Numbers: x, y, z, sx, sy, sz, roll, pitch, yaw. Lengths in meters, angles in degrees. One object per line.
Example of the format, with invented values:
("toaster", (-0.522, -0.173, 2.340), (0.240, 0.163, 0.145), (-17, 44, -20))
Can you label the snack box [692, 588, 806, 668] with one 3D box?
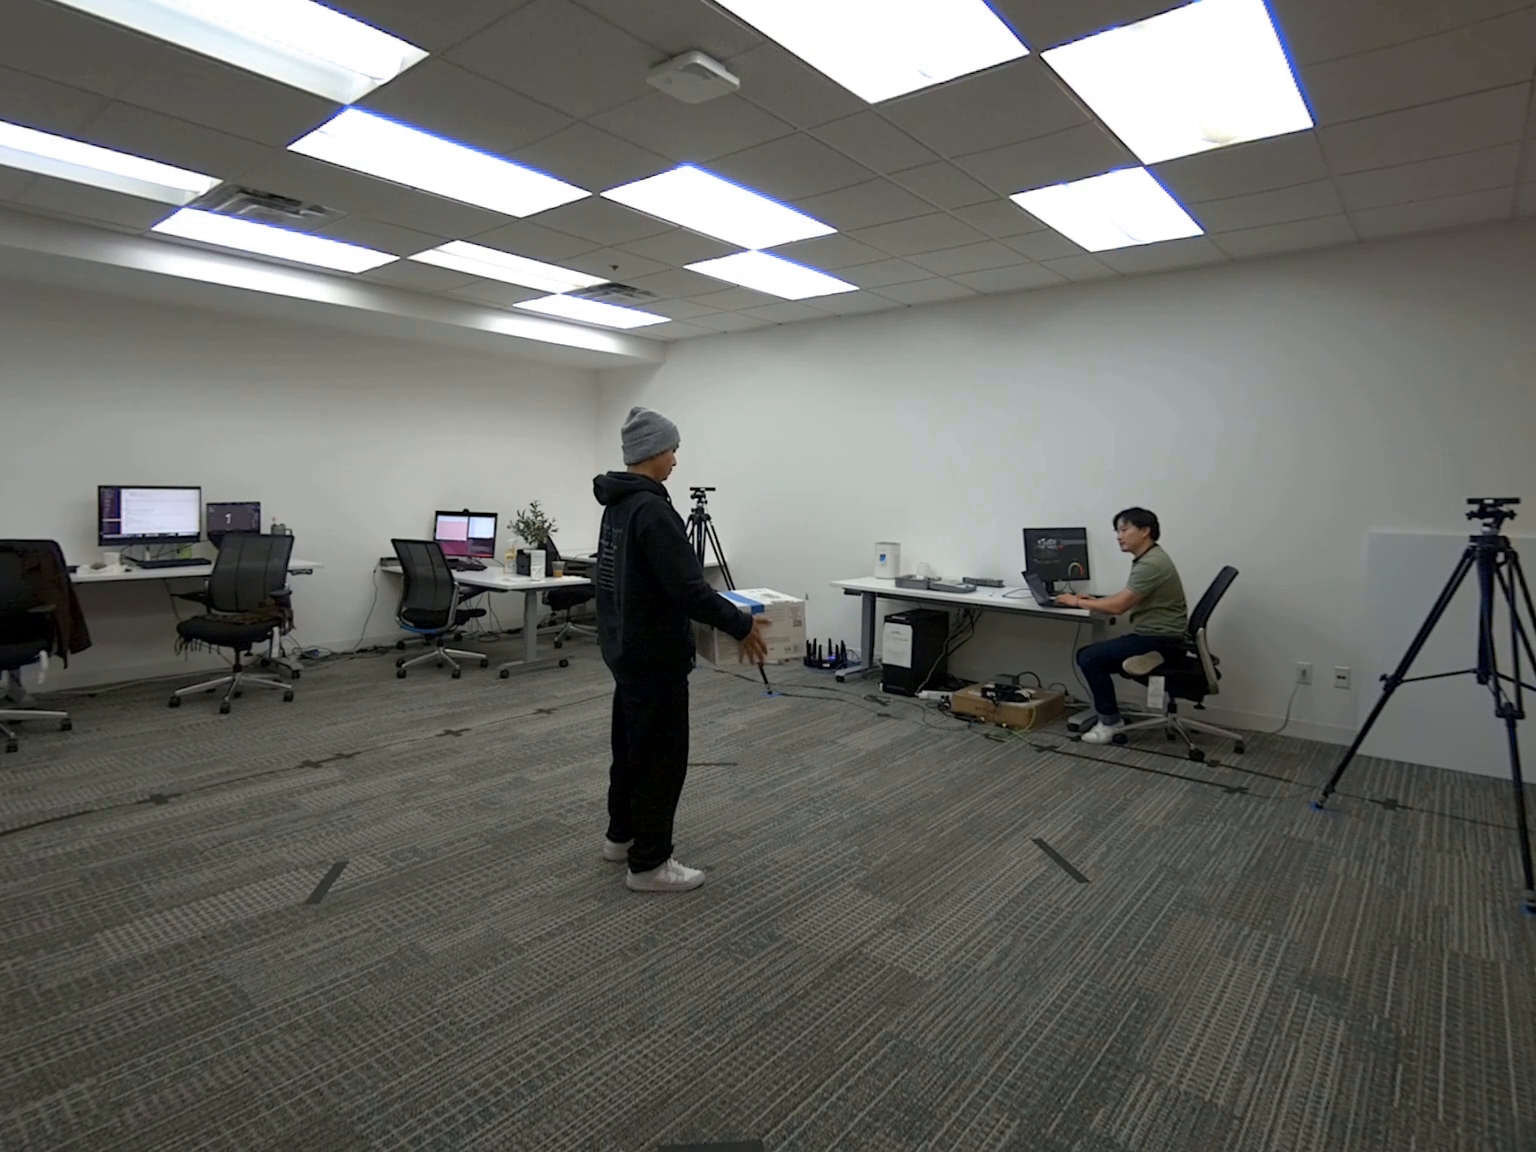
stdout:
("snack box", (-0.105, 0.181, 3.147), (0.335, 0.204, 0.414), (-6, 7, -18))
